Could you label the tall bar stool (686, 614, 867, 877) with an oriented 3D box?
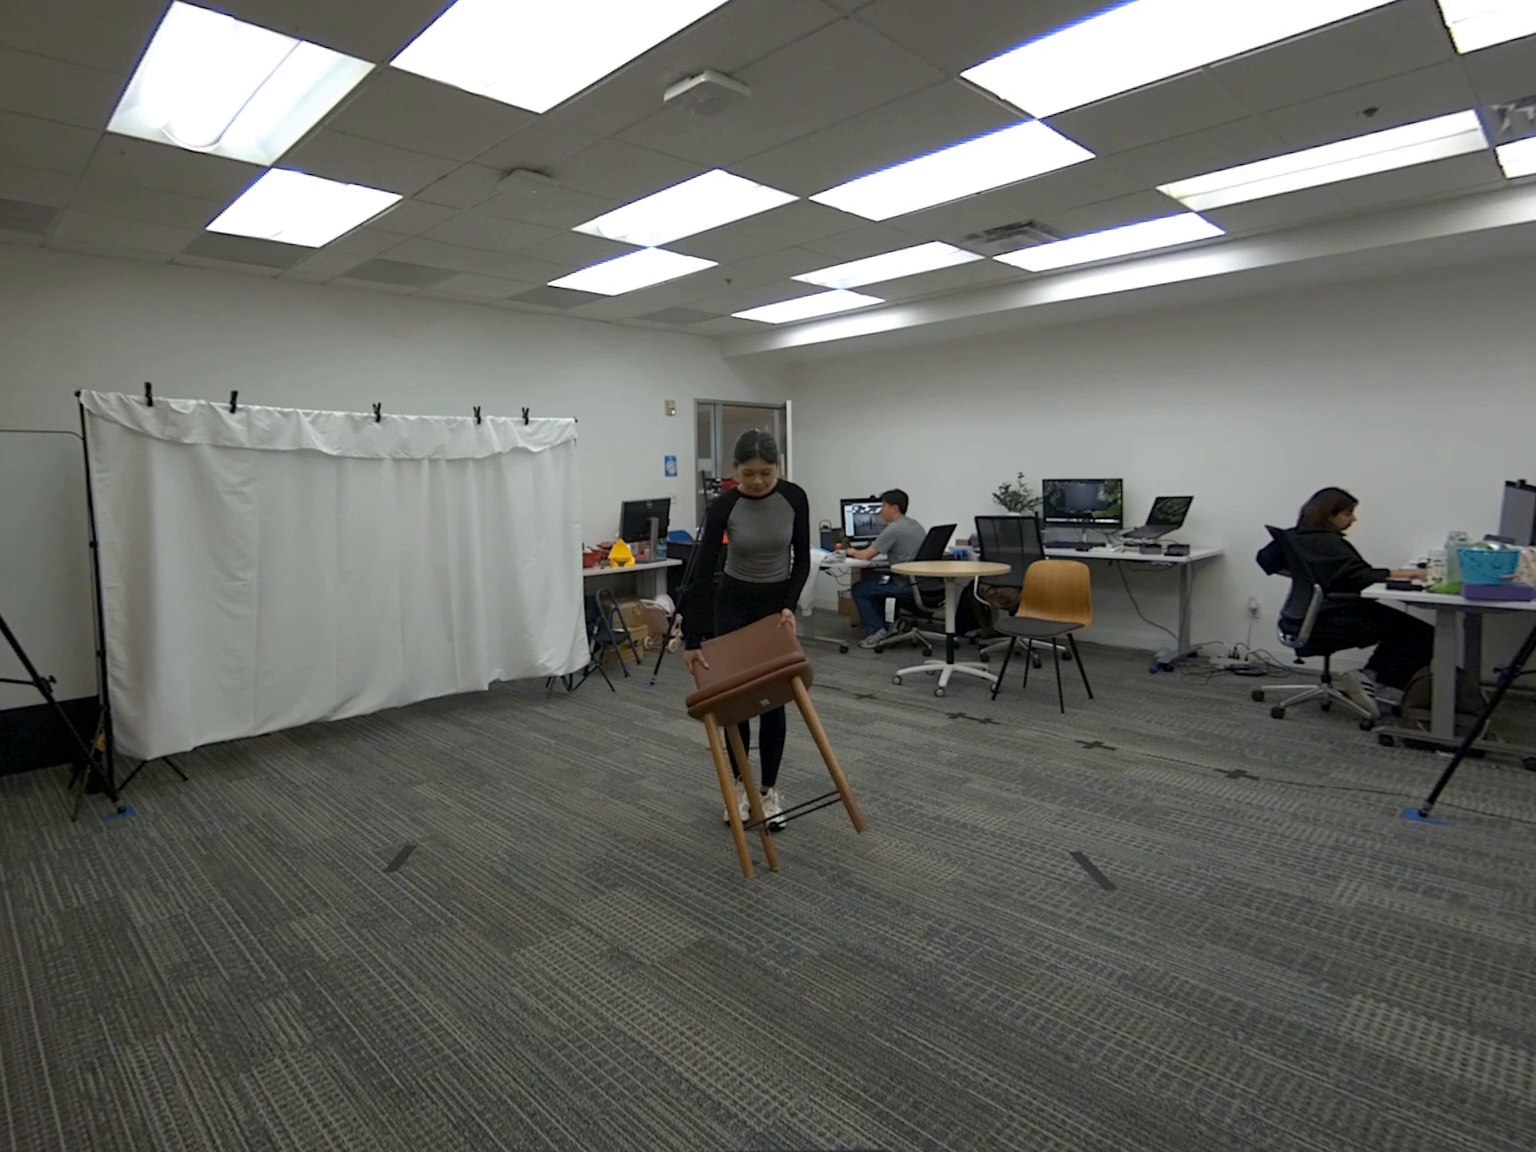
[{"bbox_3d":[0.002,0.544,3.001,0.457,0.913,0.454,-24,-23,4],"label":"tall bar stool"}]
